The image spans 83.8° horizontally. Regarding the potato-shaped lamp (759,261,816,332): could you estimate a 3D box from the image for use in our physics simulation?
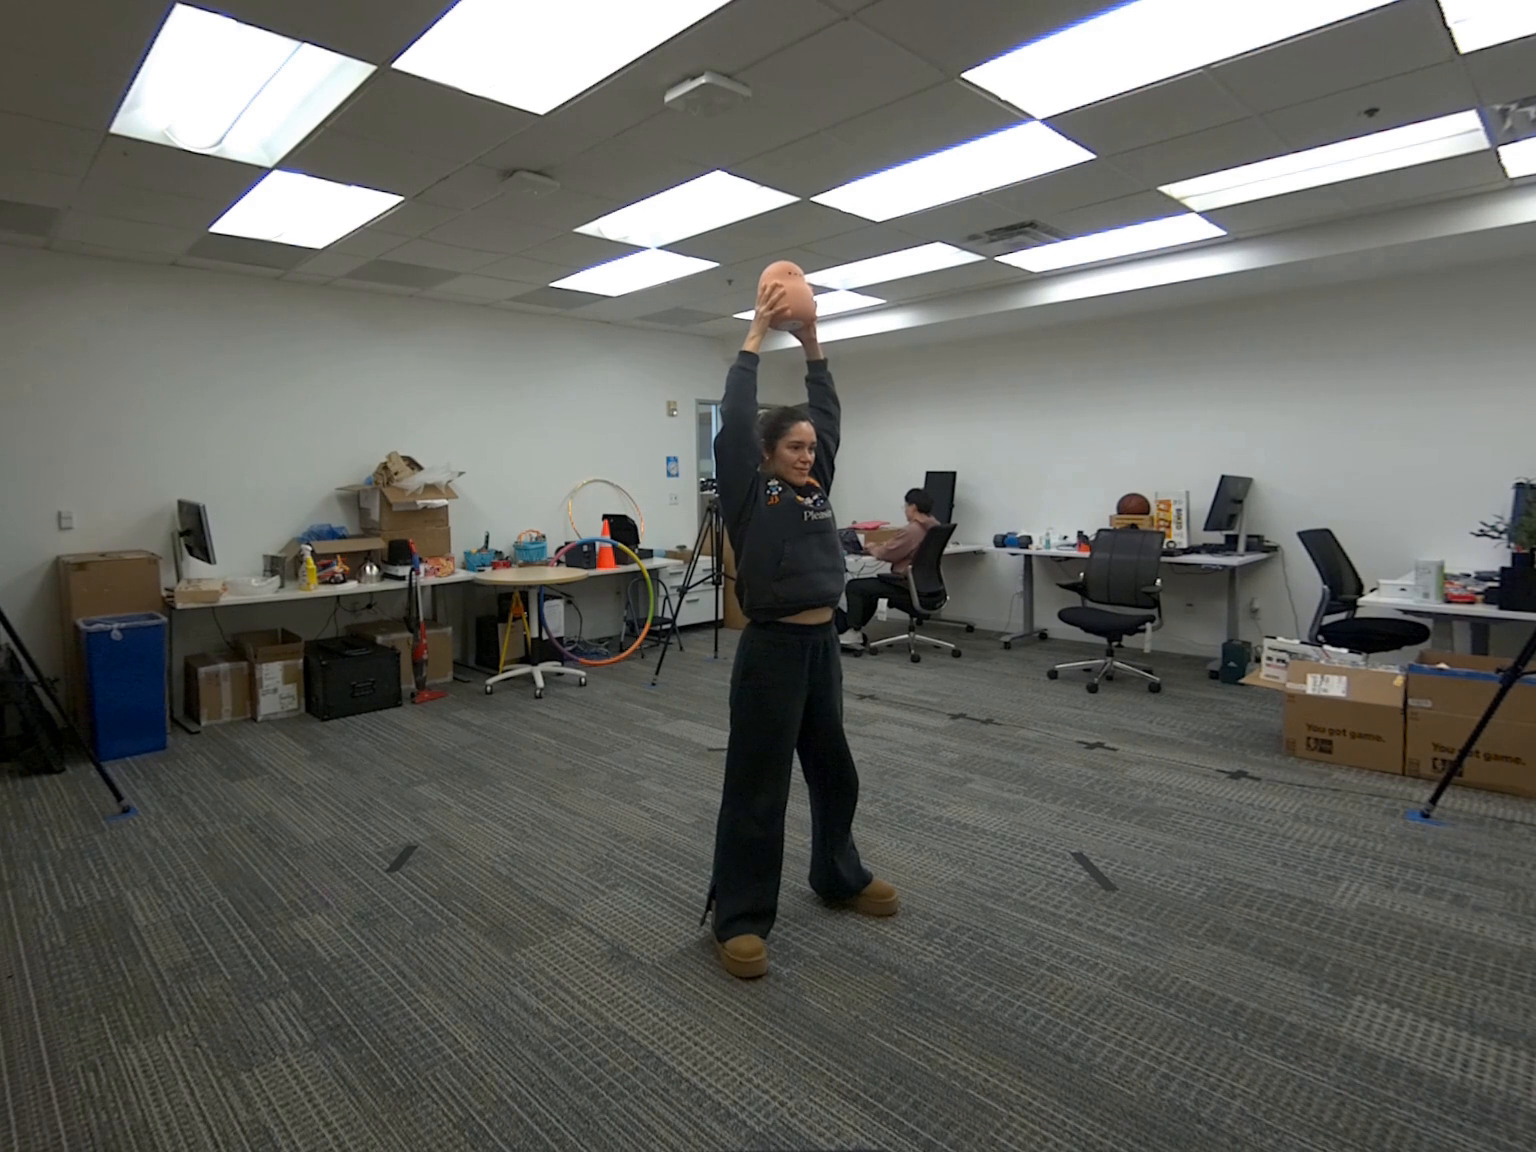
[{"bbox_3d":[0.054,-0.838,2.530,0.160,0.198,0.175,-3,-2,-36],"label":"potato-shaped lamp"}]
